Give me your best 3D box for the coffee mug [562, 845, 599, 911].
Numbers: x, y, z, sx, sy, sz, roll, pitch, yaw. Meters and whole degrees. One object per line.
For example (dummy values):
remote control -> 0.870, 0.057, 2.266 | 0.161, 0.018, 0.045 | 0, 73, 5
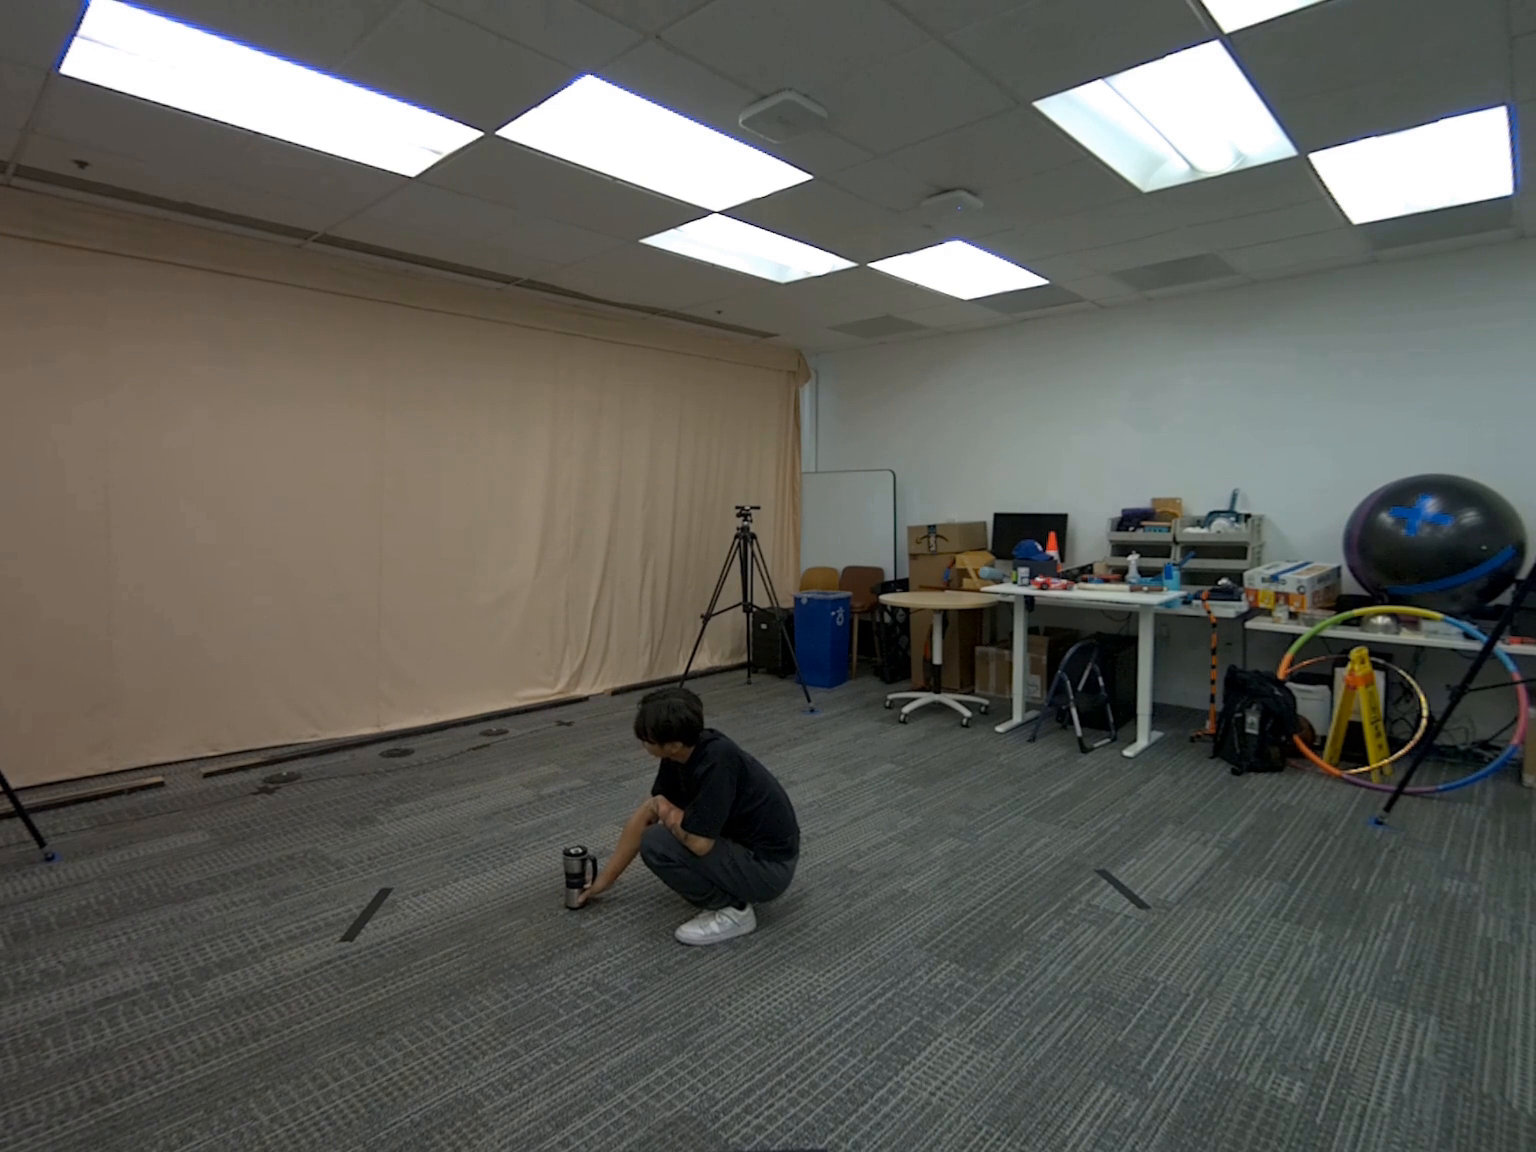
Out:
coffee mug -> -0.657, 1.062, 2.920 | 0.126, 0.203, 0.085 | 0, -4, 39
